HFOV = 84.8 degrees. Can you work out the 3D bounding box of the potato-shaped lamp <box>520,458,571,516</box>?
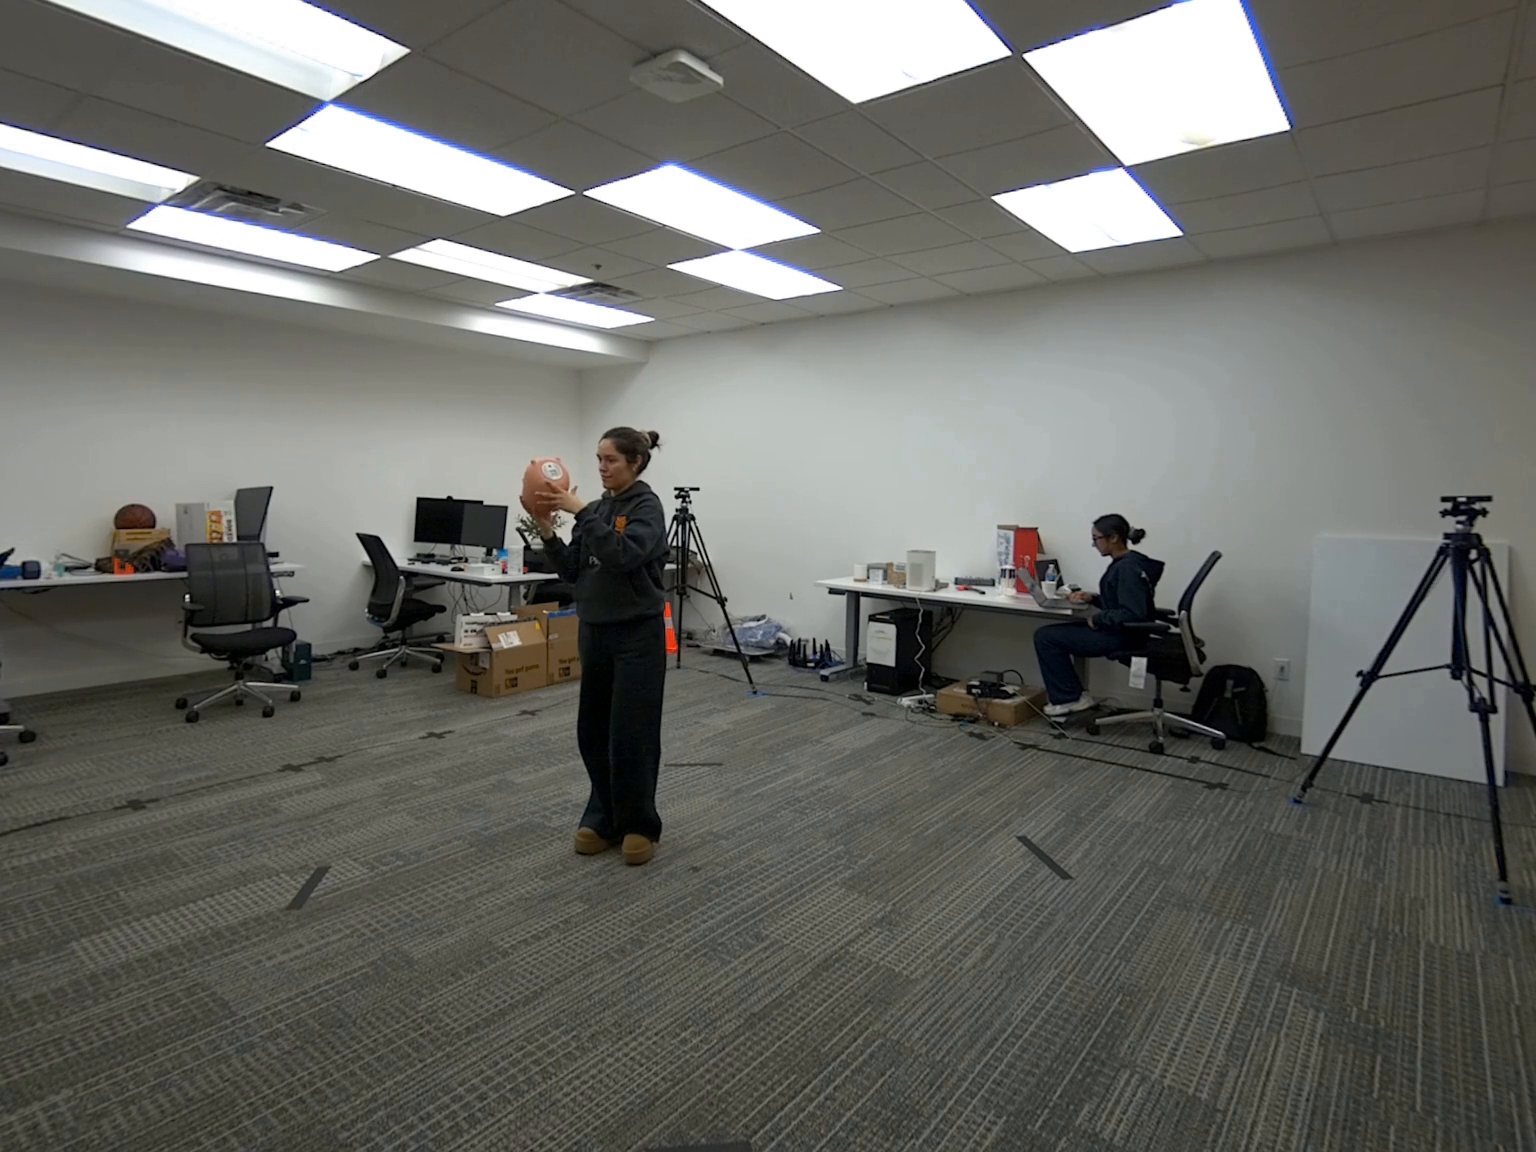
[{"bbox_3d":[-0.824,-0.322,3.117,0.161,0.175,0.198,-13,-22,-43],"label":"potato-shaped lamp"}]
